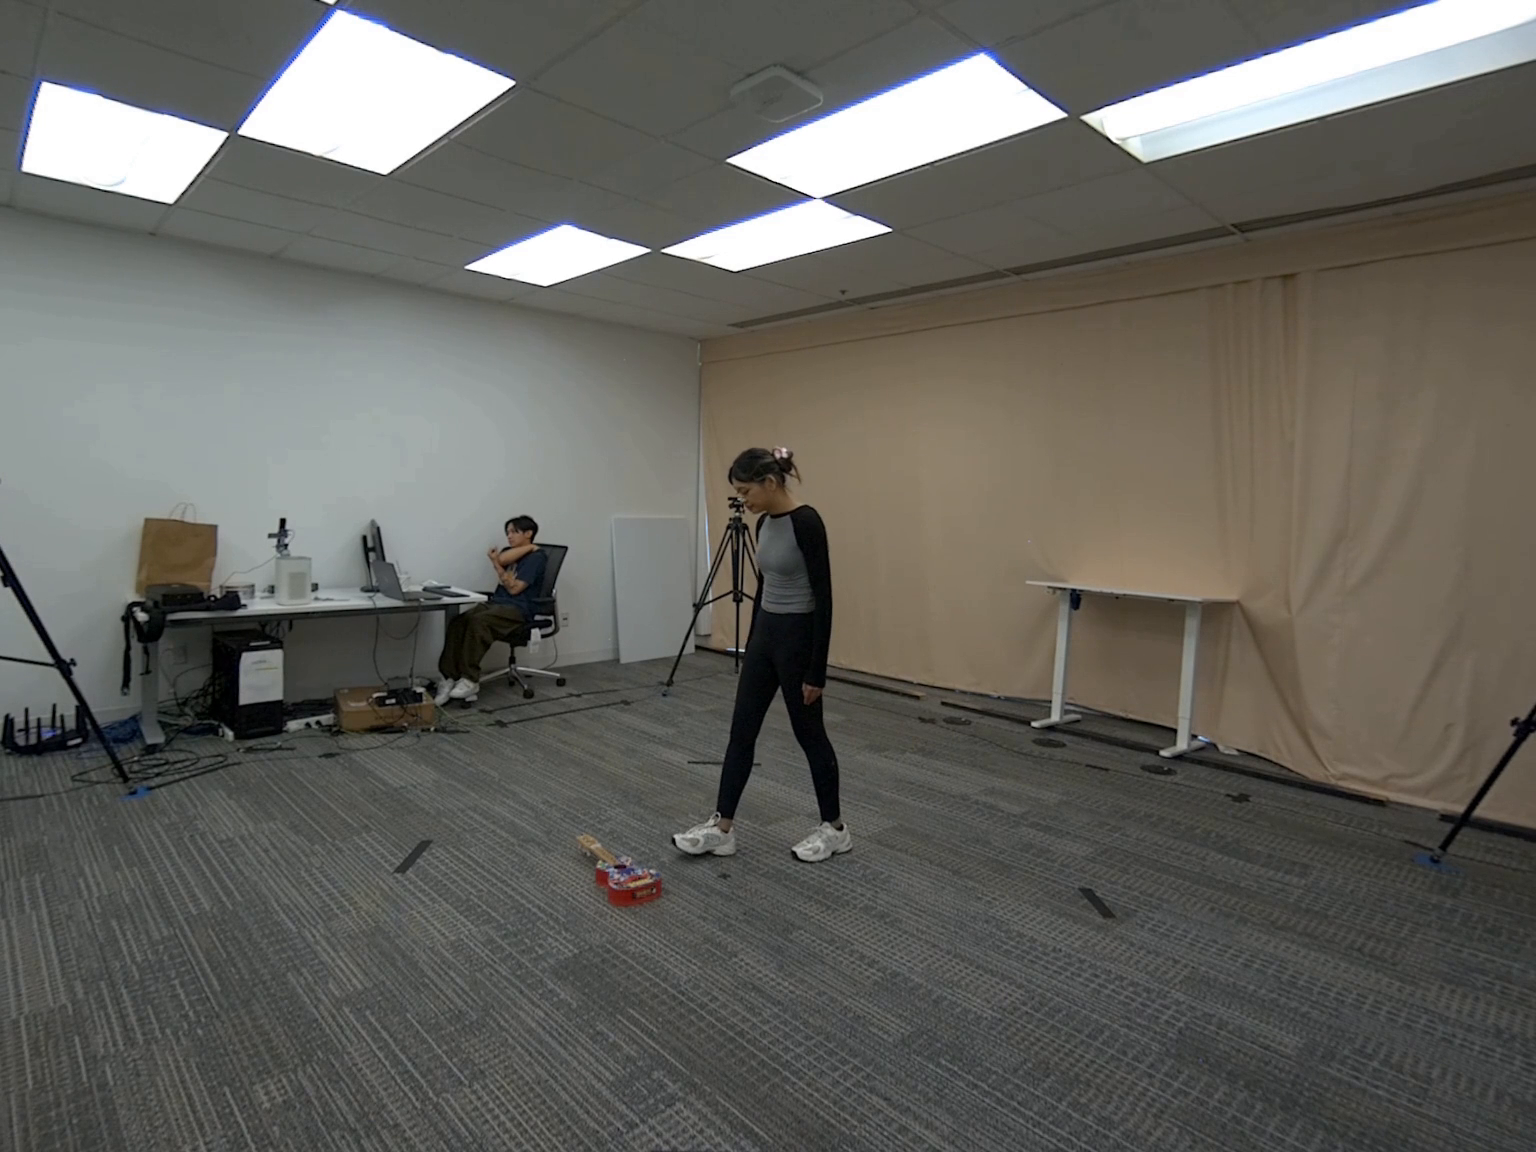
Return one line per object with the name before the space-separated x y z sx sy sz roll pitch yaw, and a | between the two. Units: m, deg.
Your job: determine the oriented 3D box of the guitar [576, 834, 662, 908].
guitar | -0.556 1.063 3.095 0.189 0.070 0.509 -1 7 -27
